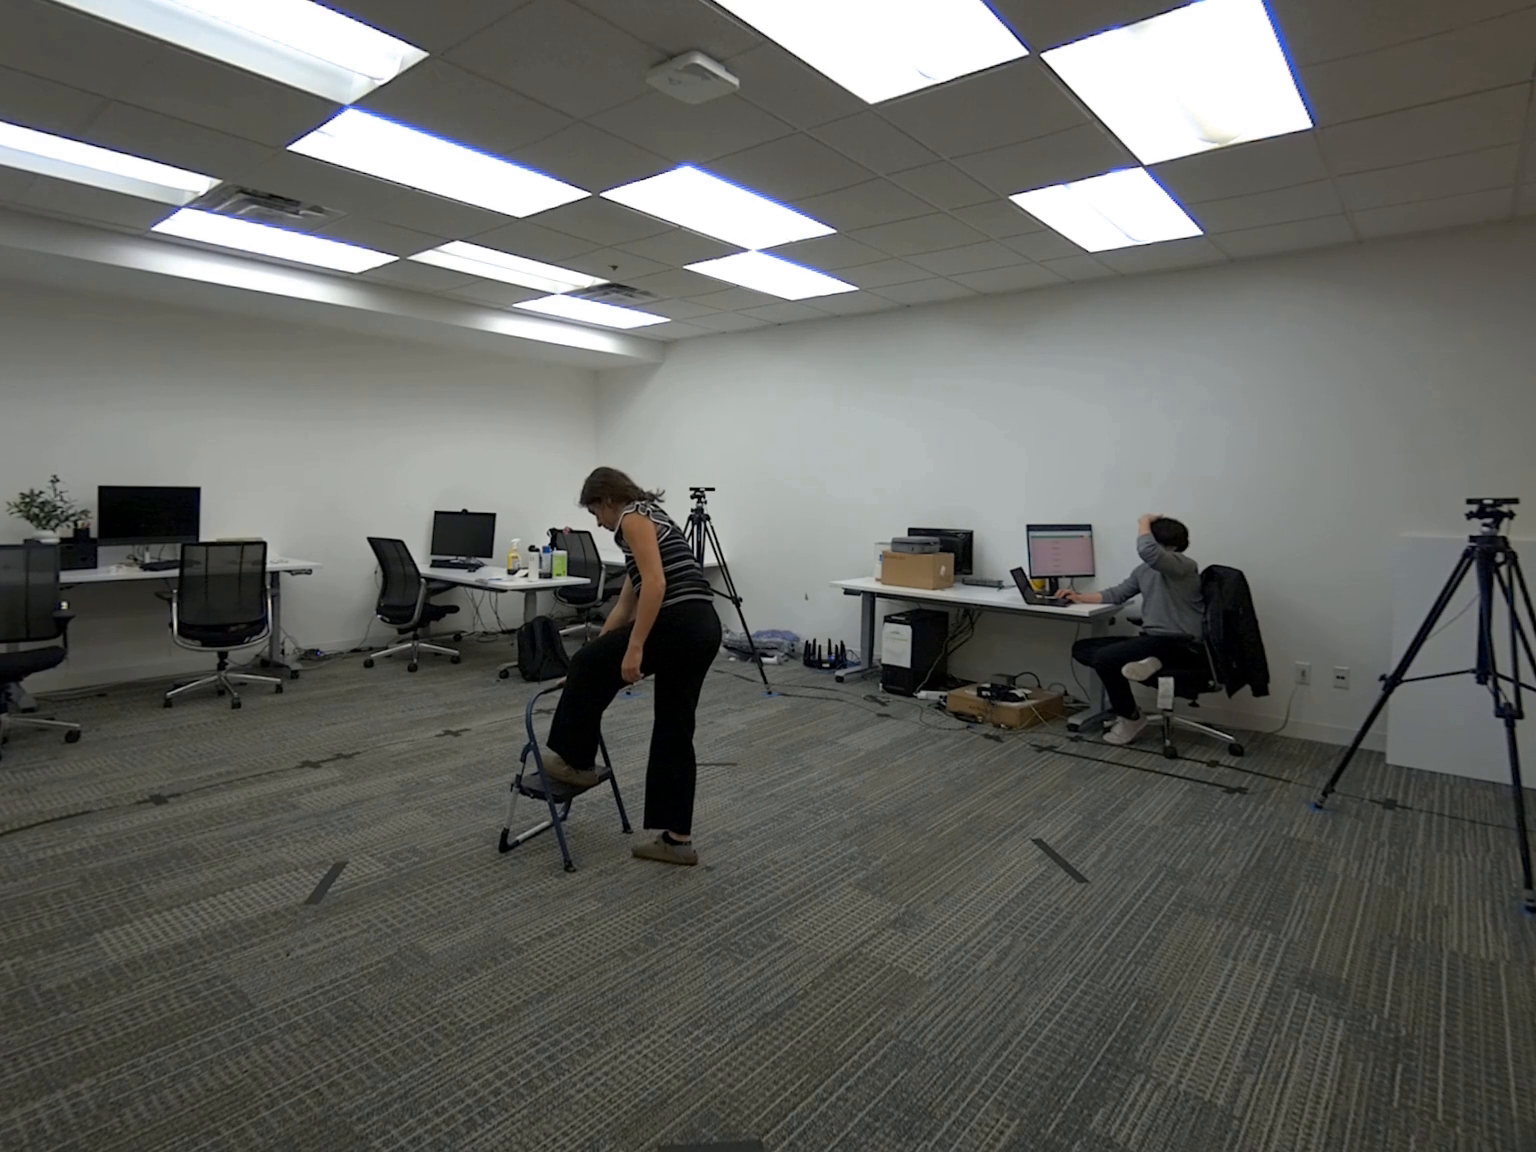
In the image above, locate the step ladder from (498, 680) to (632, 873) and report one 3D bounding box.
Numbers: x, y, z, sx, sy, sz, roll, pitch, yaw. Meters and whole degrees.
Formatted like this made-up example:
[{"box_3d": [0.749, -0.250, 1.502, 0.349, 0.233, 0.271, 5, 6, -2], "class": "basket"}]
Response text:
[{"box_3d": [-0.787, 0.735, 3.310, 0.358, 0.605, 0.421, 3, 3, 24], "class": "step ladder"}]
